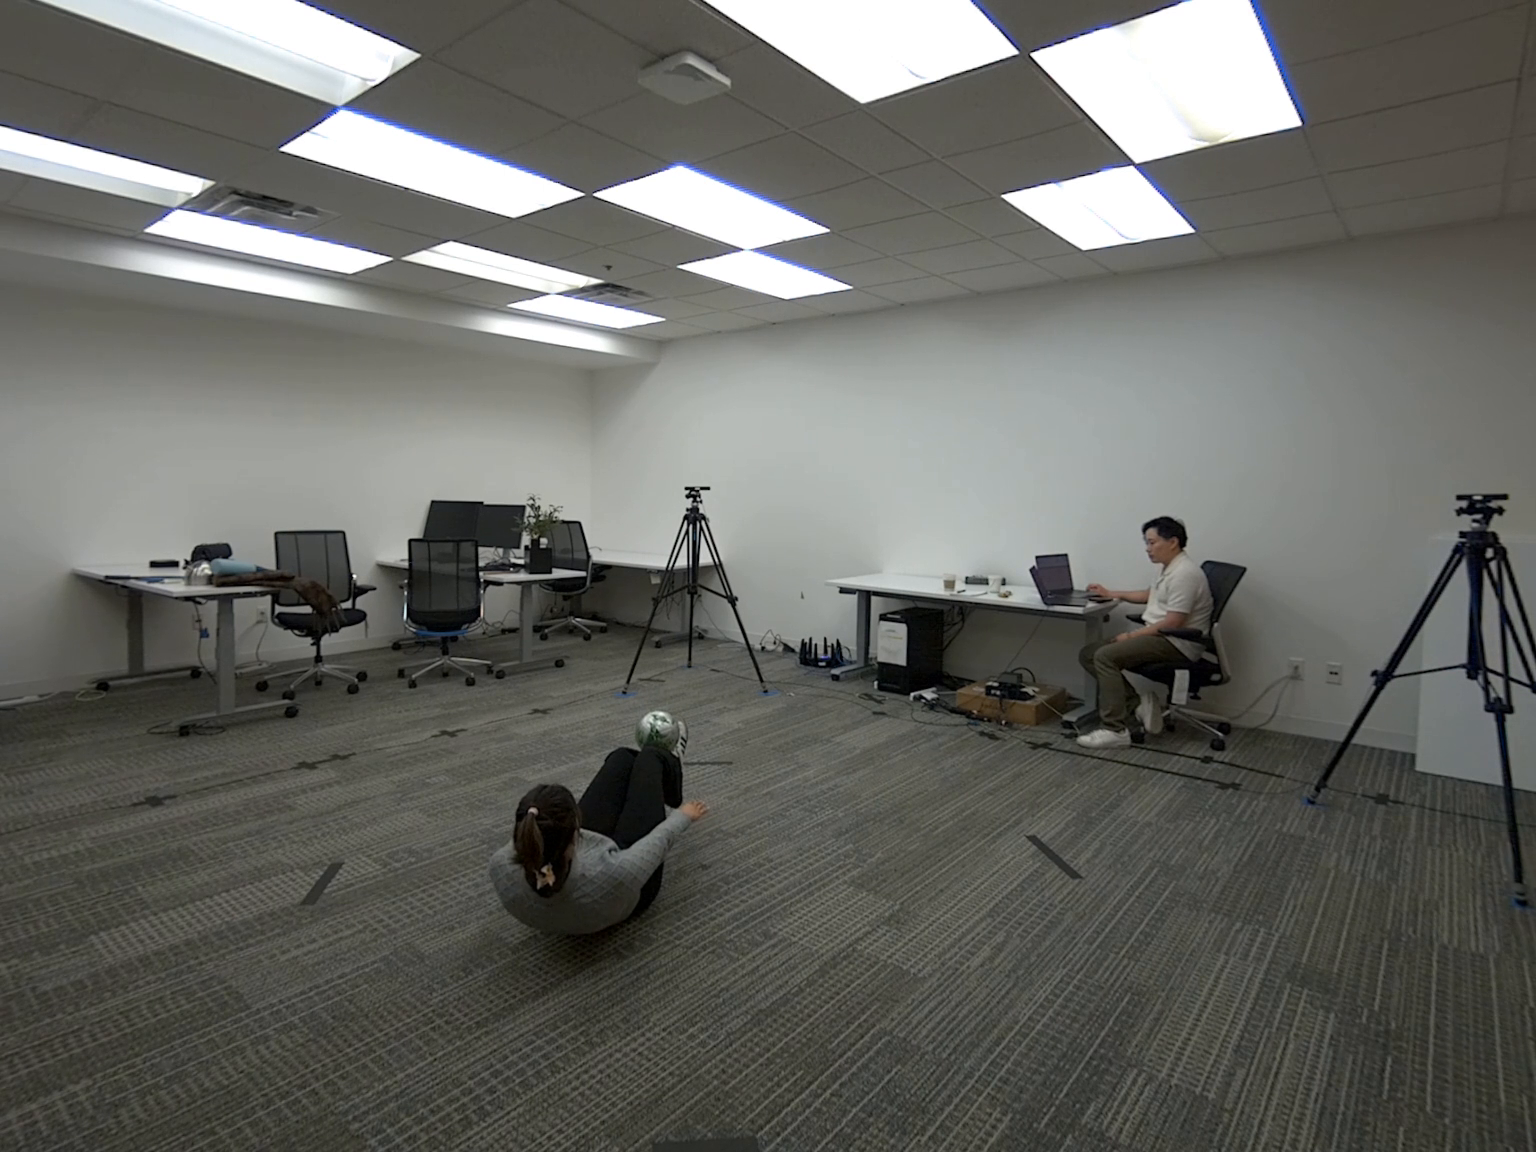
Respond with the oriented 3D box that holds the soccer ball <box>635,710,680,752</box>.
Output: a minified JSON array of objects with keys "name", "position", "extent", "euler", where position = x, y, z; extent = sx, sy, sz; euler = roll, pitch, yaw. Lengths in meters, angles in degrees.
[{"name":"soccer ball","position":[-0.470,0.648,3.512],"extent":[0.187,0.187,0.188],"euler":[0,4,-2]}]
